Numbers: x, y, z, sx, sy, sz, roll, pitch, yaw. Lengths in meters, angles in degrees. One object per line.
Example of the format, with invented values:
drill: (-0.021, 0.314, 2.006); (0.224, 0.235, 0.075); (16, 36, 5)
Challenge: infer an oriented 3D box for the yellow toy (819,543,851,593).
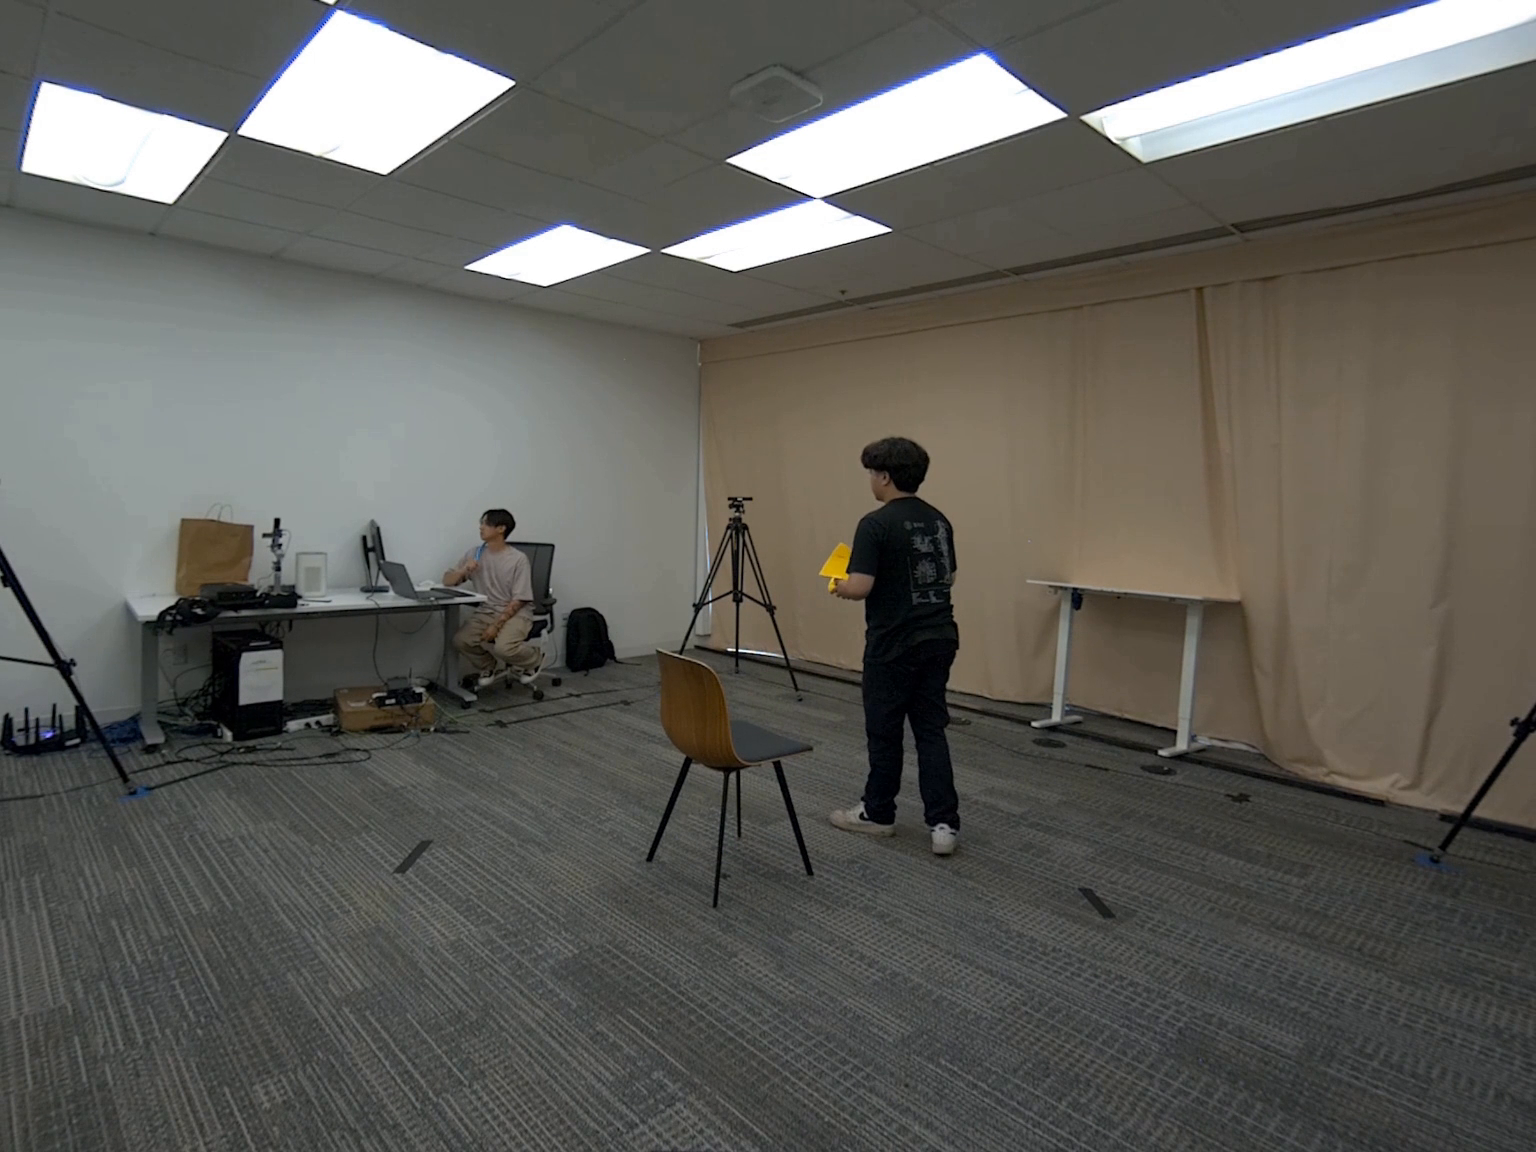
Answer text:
yellow toy: (0.358, -0.046, 3.706); (0.210, 0.228, 0.190); (7, 16, 37)
